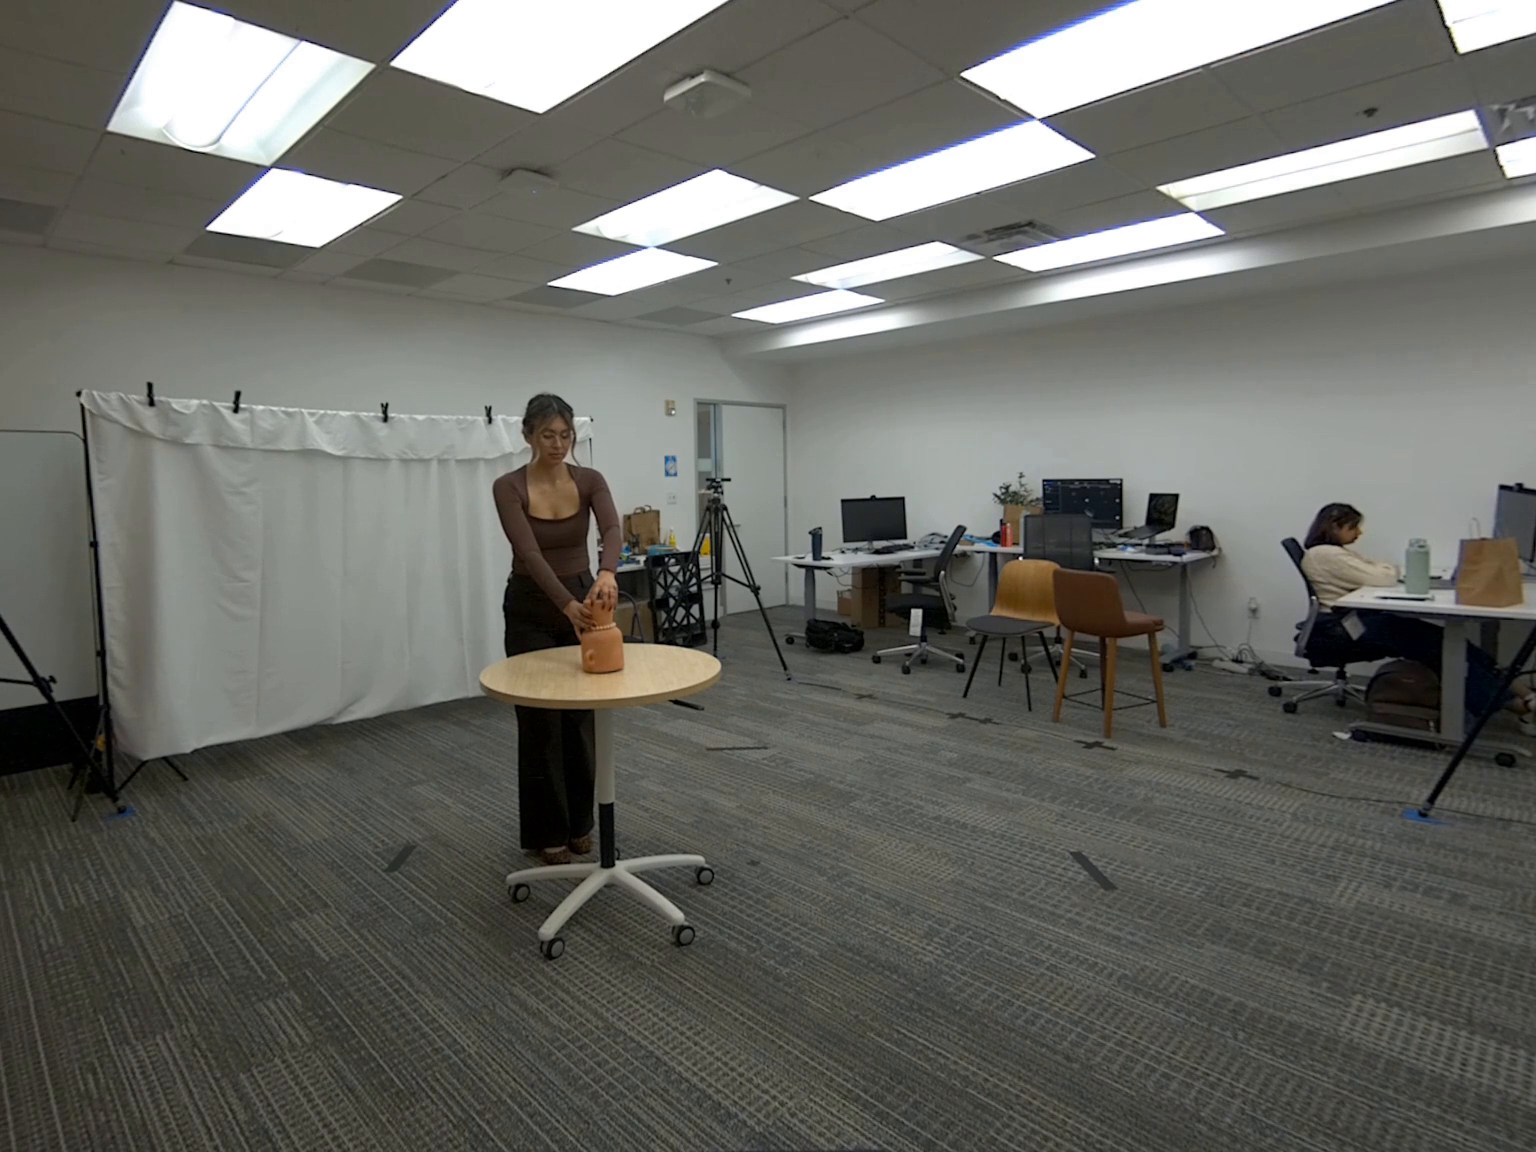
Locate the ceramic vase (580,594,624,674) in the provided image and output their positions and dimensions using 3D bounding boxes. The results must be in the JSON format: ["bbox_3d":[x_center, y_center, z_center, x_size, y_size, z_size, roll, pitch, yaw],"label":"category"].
[{"bbox_3d":[-0.530,0.187,2.720,0.133,0.219,0.162,-7,5,-18],"label":"ceramic vase"}]
